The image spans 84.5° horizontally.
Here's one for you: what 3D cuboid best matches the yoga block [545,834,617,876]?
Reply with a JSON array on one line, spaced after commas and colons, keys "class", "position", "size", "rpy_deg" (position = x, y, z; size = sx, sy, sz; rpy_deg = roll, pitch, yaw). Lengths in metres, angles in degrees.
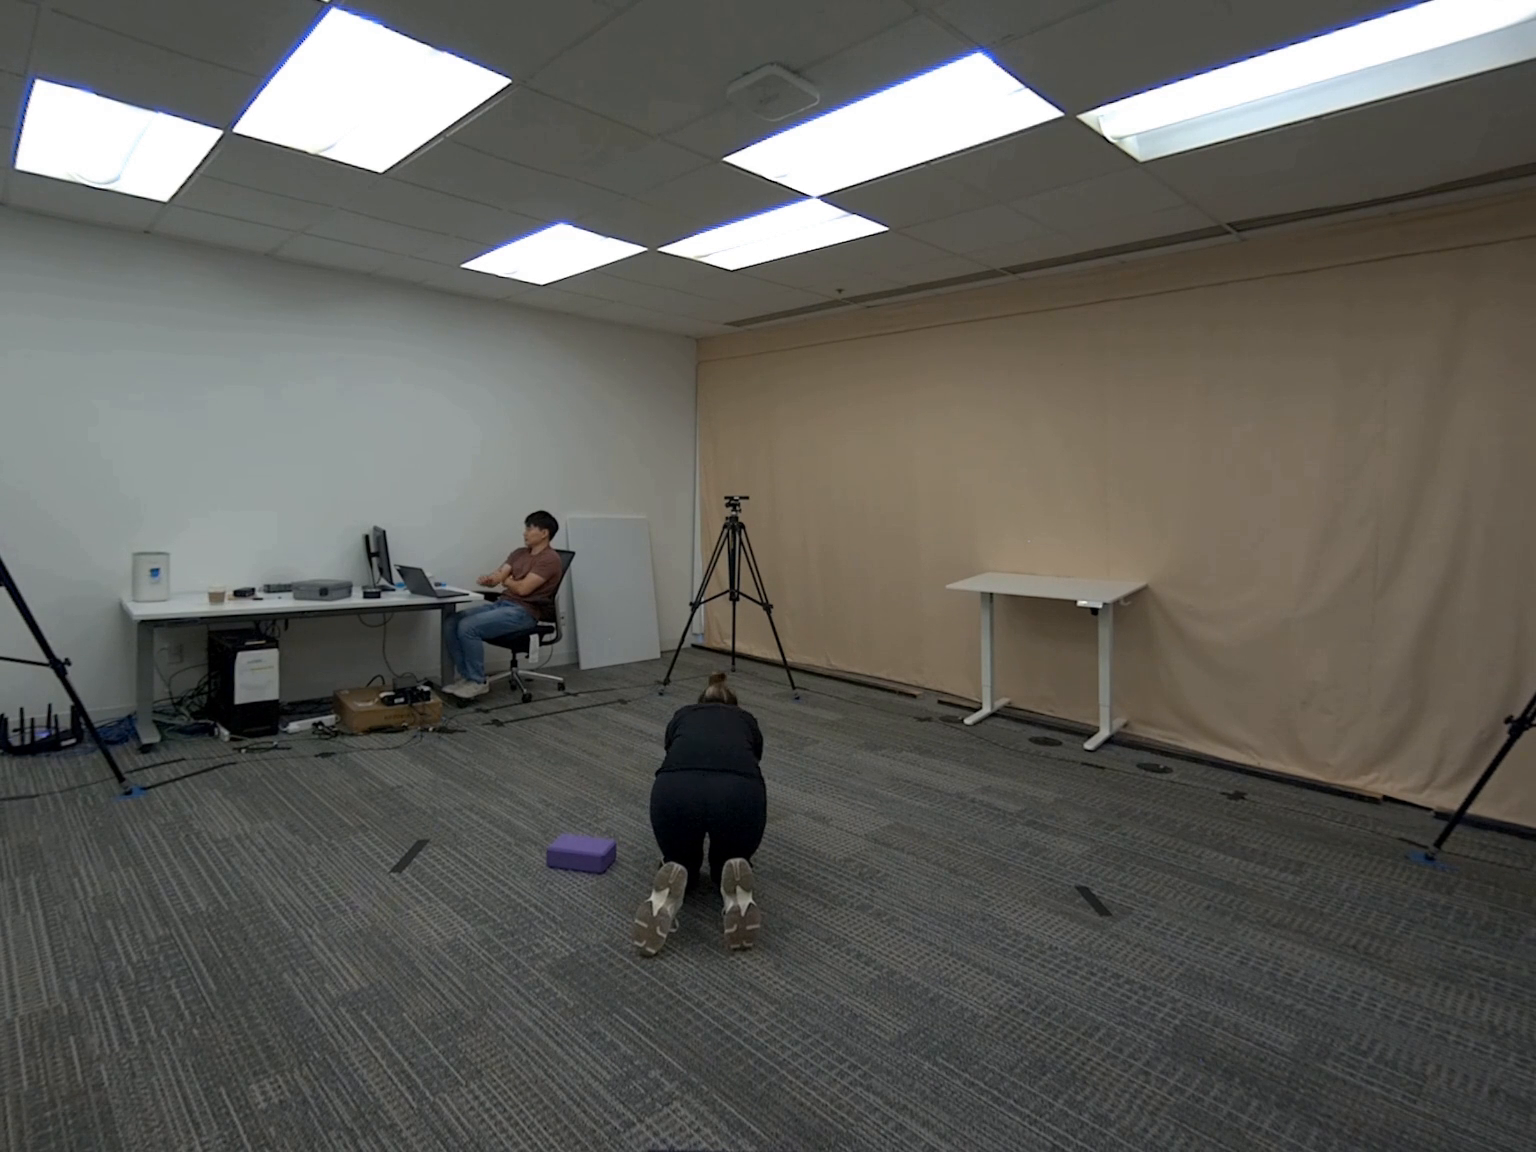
[{"class": "yoga block", "position": [-0.708, 1.043, 3.168], "size": [0.231, 0.076, 0.148], "rpy_deg": [3, 5, 10]}]
